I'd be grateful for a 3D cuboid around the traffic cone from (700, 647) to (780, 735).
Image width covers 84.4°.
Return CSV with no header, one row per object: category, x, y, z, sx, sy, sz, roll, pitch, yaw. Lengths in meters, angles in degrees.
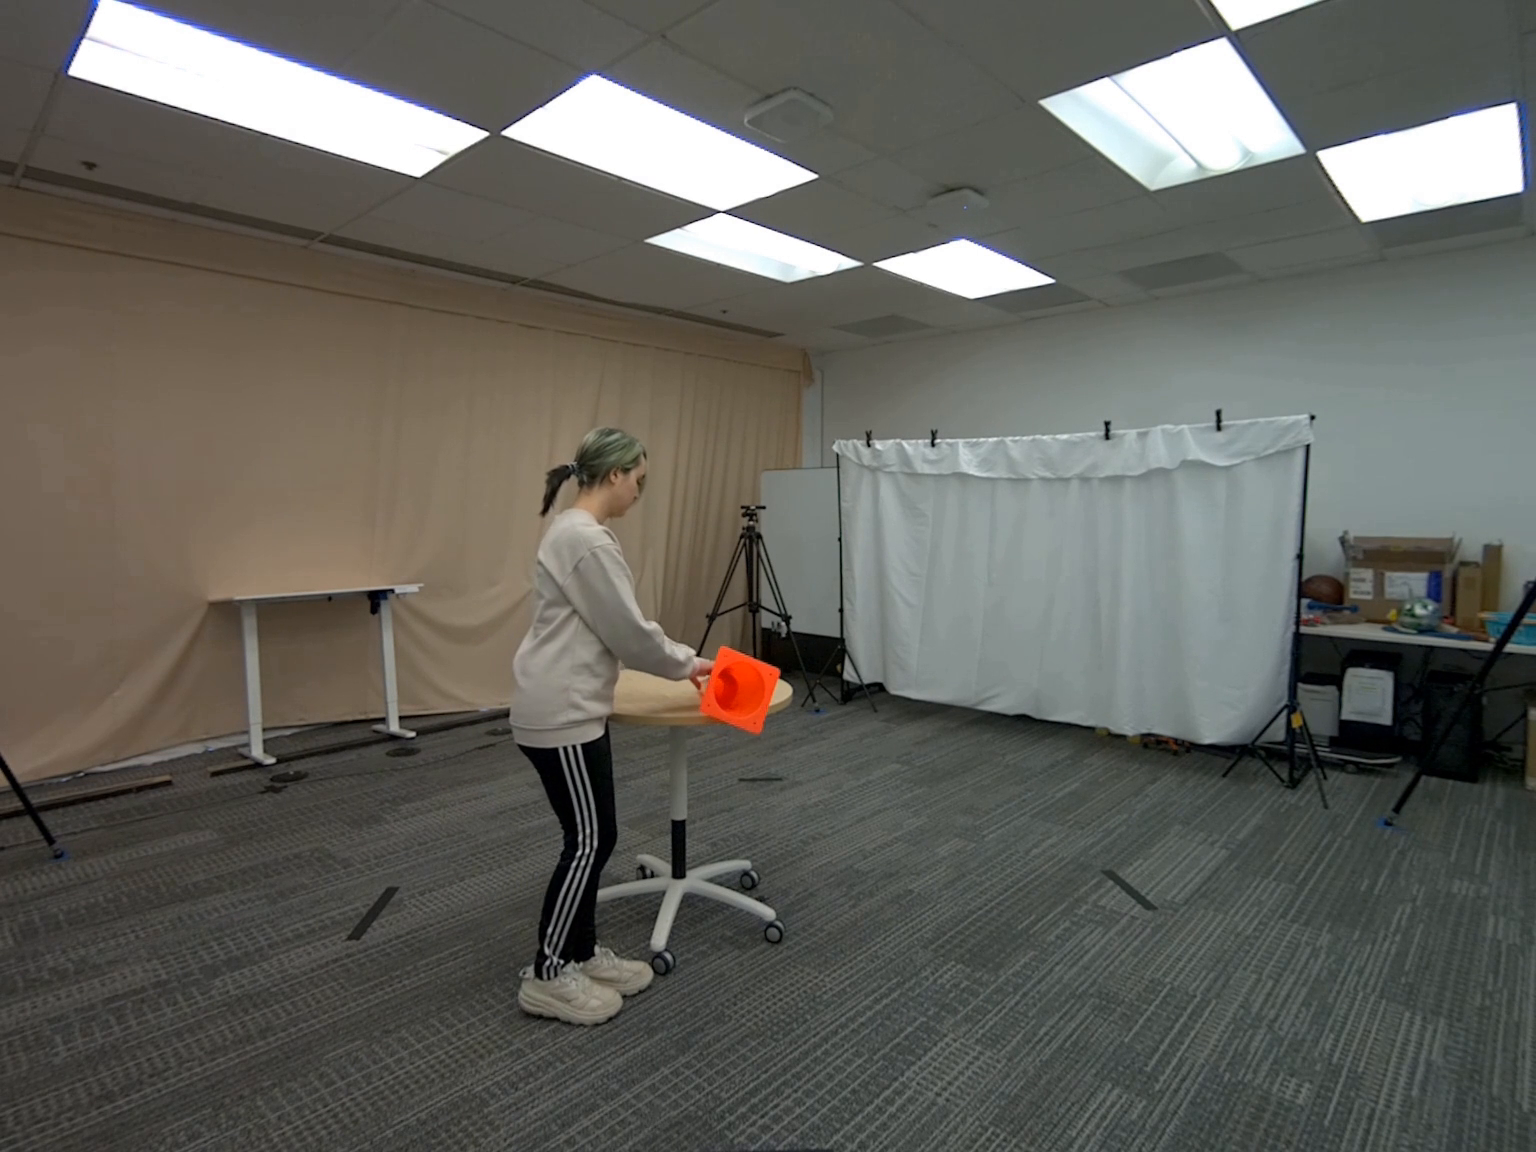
traffic cone,-0.142,0.350,2.583,0.200,0.205,0.388,24,-12,-13
